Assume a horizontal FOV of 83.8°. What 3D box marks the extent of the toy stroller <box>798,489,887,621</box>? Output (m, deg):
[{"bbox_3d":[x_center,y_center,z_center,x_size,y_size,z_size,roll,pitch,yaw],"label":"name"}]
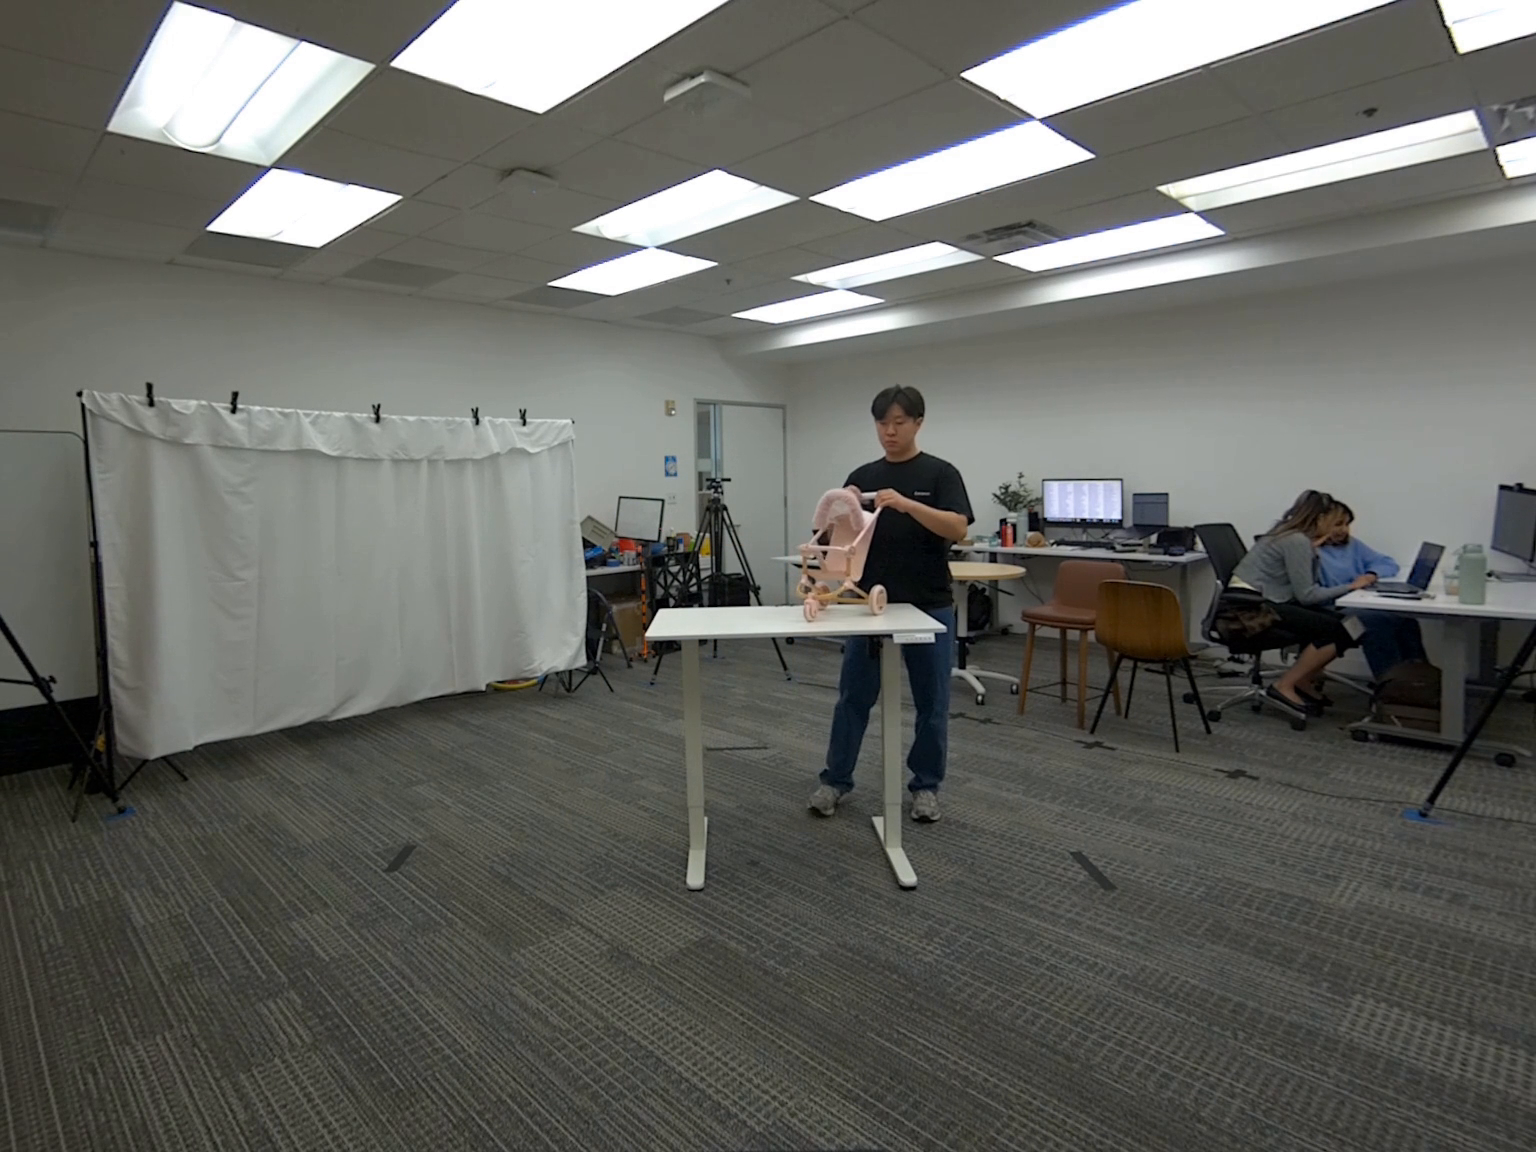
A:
[{"bbox_3d":[0.255,-0.081,3.163,0.290,0.538,0.329,1,-9,43],"label":"toy stroller"}]
